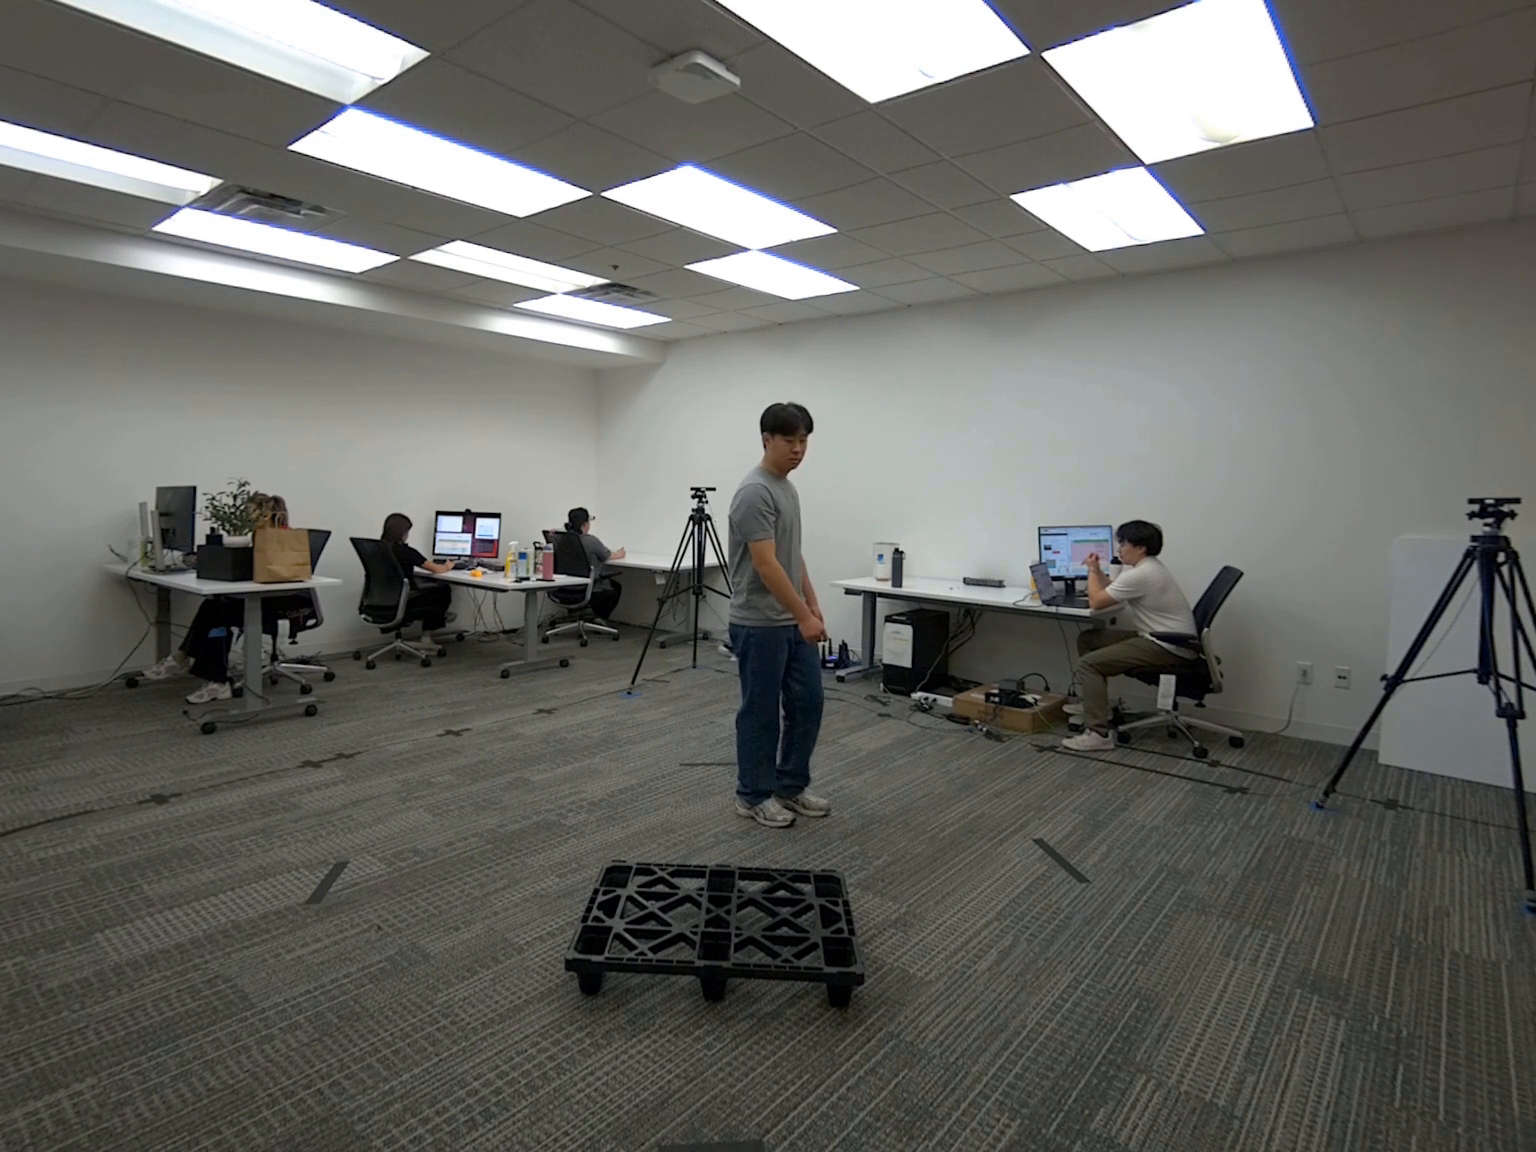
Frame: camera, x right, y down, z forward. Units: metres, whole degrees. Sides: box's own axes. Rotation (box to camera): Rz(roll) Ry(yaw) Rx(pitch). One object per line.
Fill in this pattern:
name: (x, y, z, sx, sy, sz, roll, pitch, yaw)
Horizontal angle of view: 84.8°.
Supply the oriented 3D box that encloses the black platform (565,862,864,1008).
black platform: (-0.161, 1.054, 2.538, 0.808, 0.143, 0.606, 2, 5, 2)
